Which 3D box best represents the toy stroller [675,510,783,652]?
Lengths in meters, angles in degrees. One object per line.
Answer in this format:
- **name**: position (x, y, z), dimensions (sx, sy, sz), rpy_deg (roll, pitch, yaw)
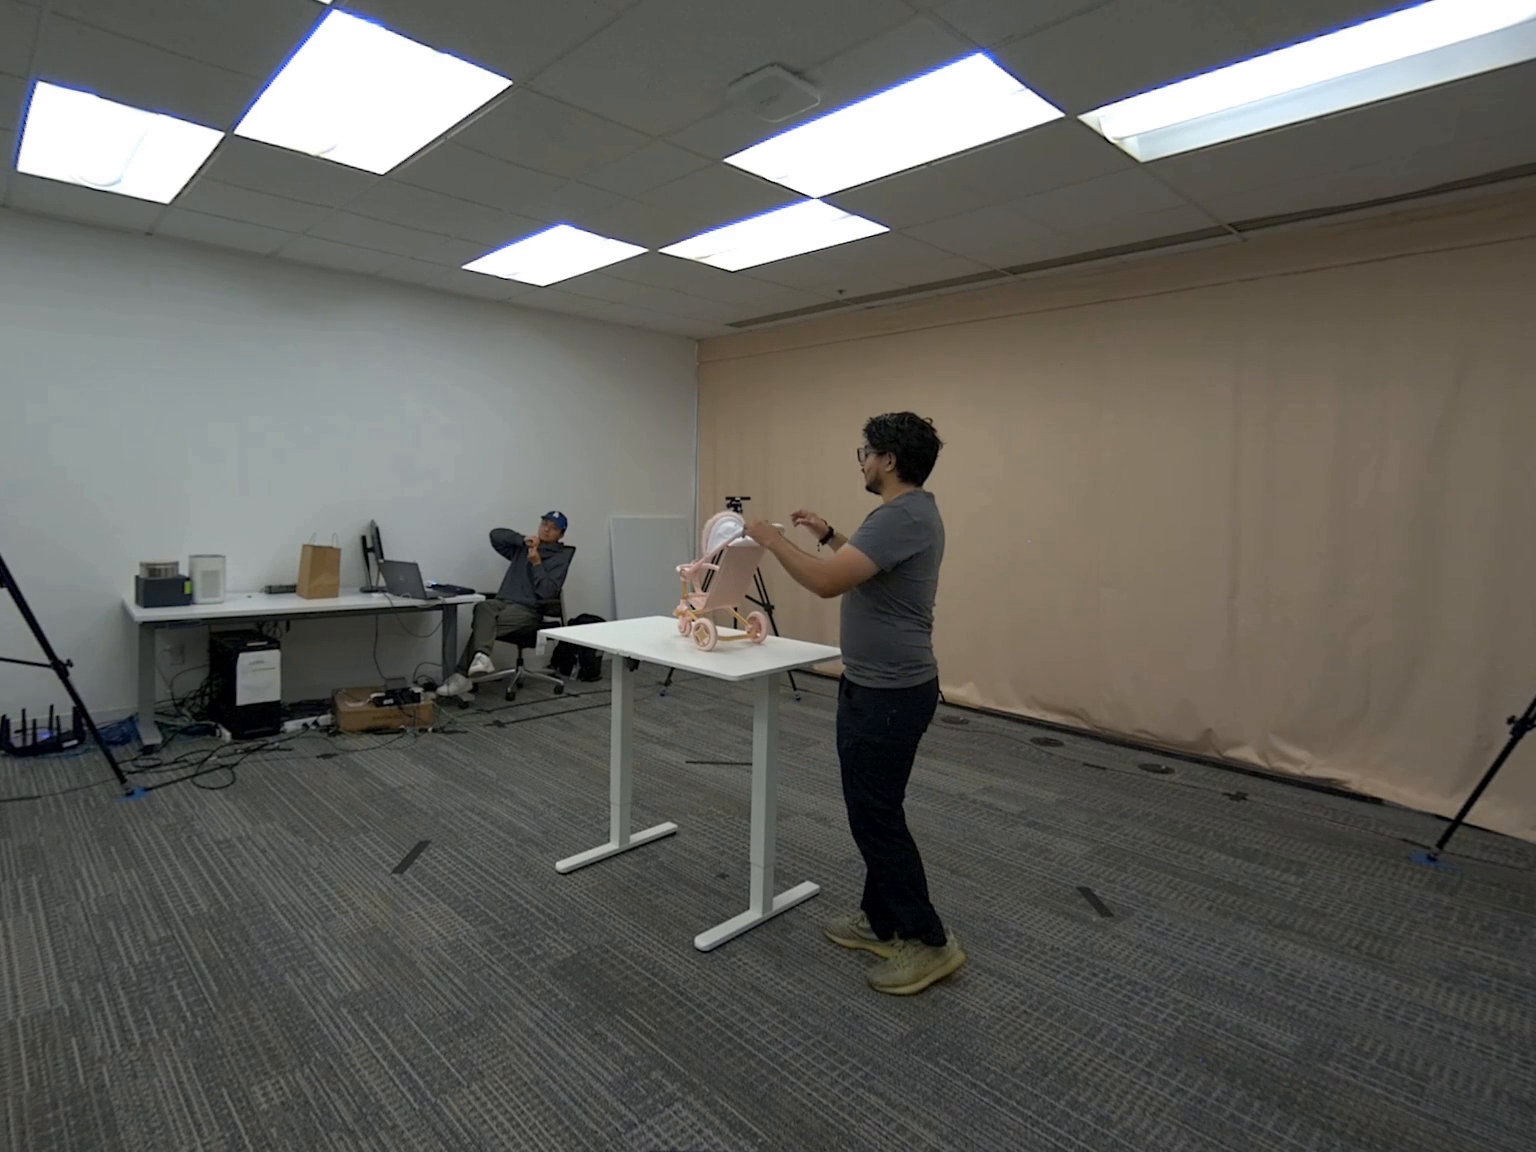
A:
- **toy stroller**: position (-0.168, 0.018, 2.922), dimensions (0.275, 0.530, 0.352), rpy_deg (-2, 22, -41)
